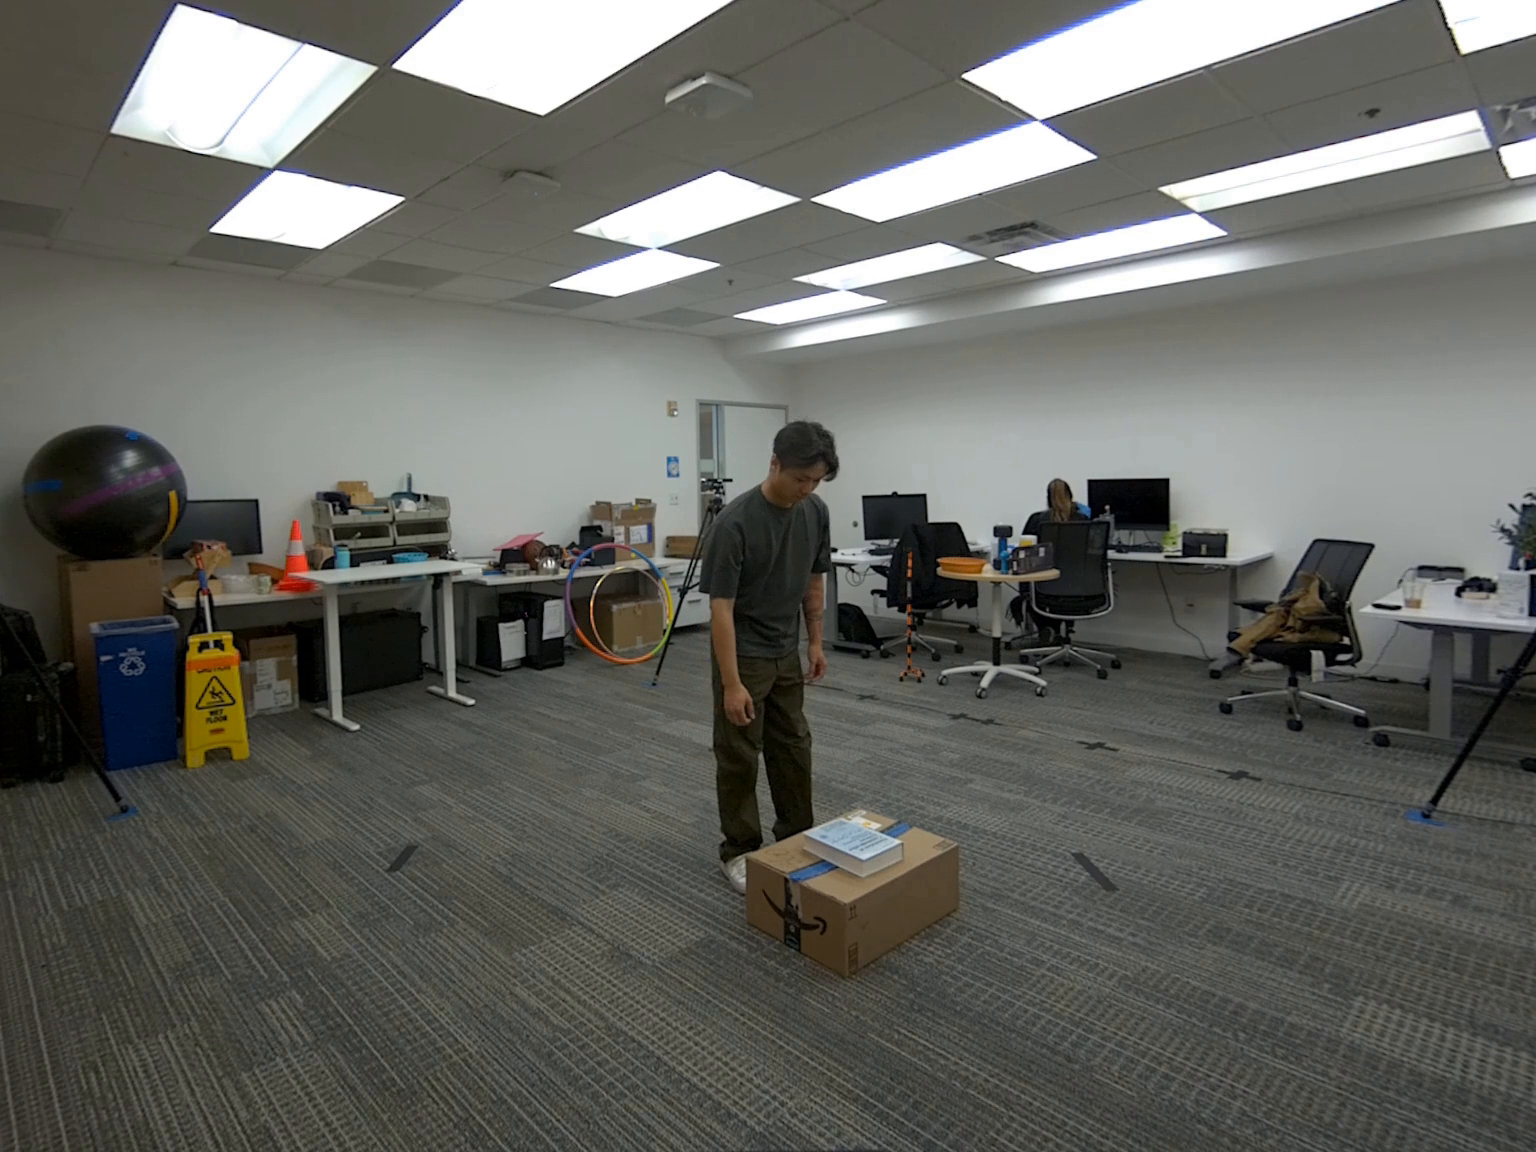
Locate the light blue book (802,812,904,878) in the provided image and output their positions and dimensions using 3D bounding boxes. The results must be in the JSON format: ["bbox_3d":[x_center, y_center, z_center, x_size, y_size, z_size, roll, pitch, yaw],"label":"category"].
[{"bbox_3d":[0.275,0.851,2.687,0.186,0.059,0.269,-8,8,-40],"label":"light blue book"}]
